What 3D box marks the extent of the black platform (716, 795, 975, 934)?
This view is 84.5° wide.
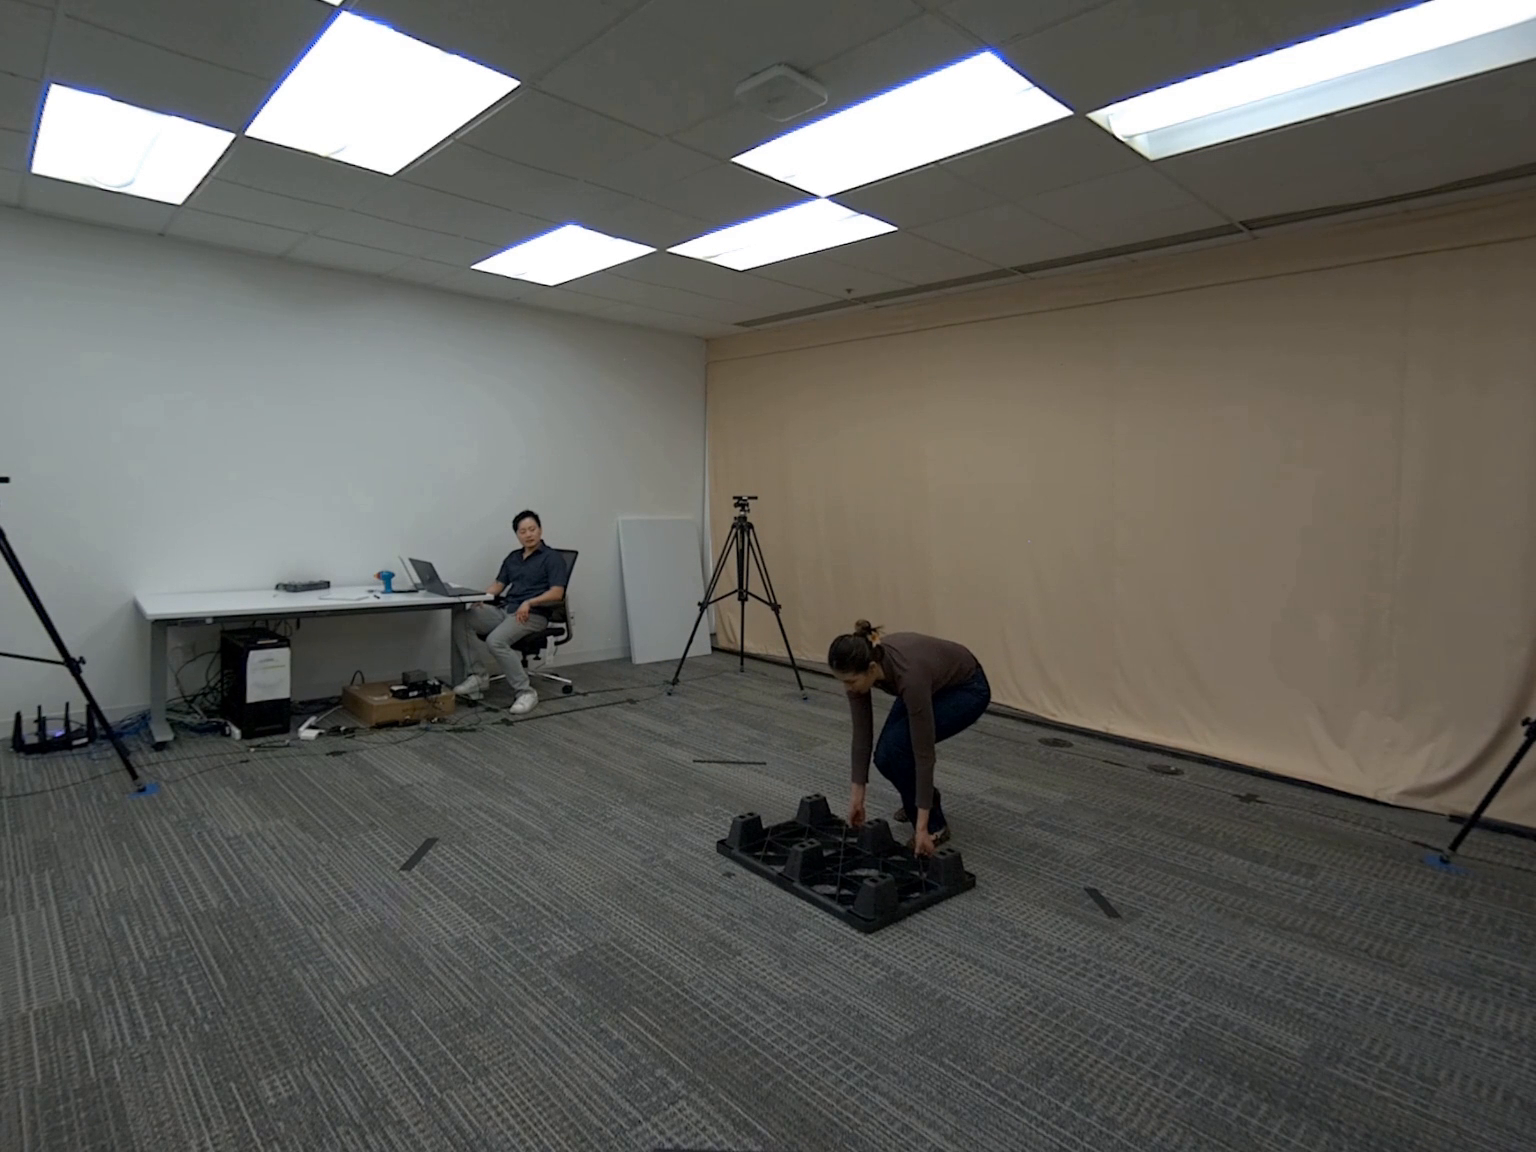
[{"bbox_3d":[0.263,1.041,3.179,0.591,0.143,0.826,-2,6,-41],"label":"black platform"}]
